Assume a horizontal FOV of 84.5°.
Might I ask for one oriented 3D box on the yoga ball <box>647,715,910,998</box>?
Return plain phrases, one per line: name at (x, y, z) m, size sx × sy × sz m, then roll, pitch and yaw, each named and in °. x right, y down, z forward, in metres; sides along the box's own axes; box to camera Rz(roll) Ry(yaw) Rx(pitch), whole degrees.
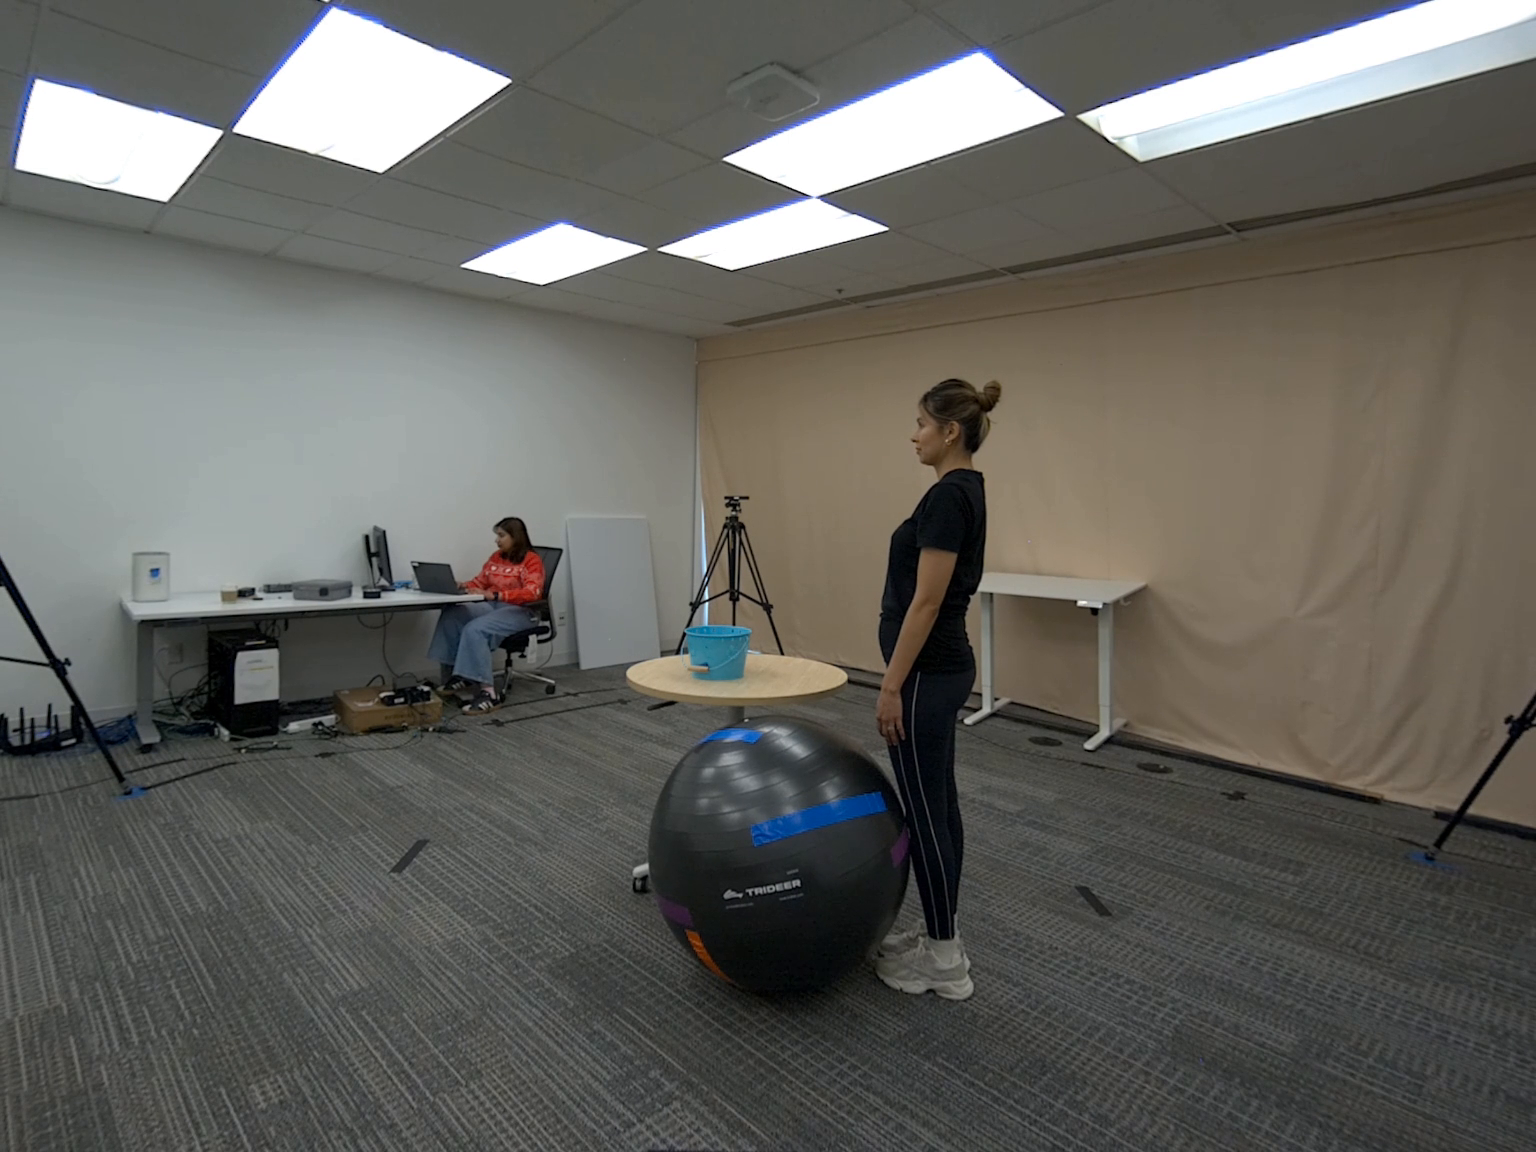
yoga ball at (0.026, 0.806, 2.439) m, size 0.757 × 0.756 × 0.761 m, roll 1°, pitch 4°, yaw -1°
